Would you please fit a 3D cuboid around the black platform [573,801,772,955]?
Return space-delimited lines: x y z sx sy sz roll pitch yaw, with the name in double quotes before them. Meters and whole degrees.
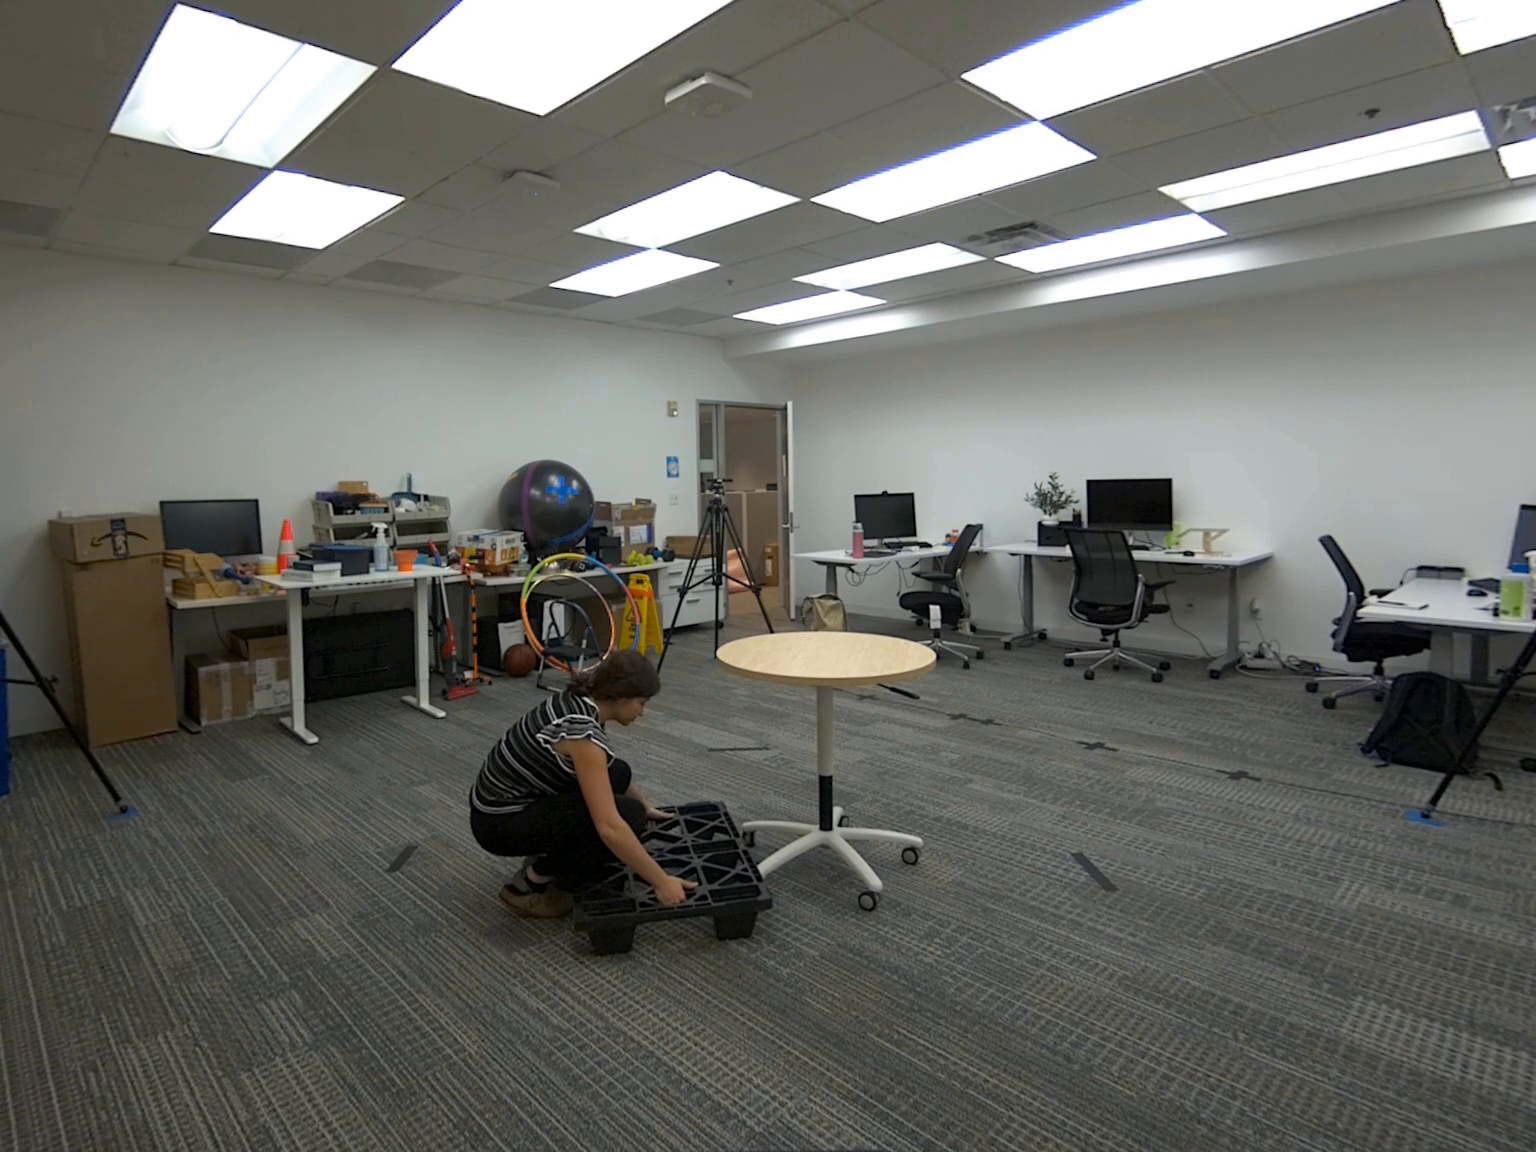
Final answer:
"black platform" -0.363 0.997 2.919 0.598 0.142 0.819 -1 7 -13
